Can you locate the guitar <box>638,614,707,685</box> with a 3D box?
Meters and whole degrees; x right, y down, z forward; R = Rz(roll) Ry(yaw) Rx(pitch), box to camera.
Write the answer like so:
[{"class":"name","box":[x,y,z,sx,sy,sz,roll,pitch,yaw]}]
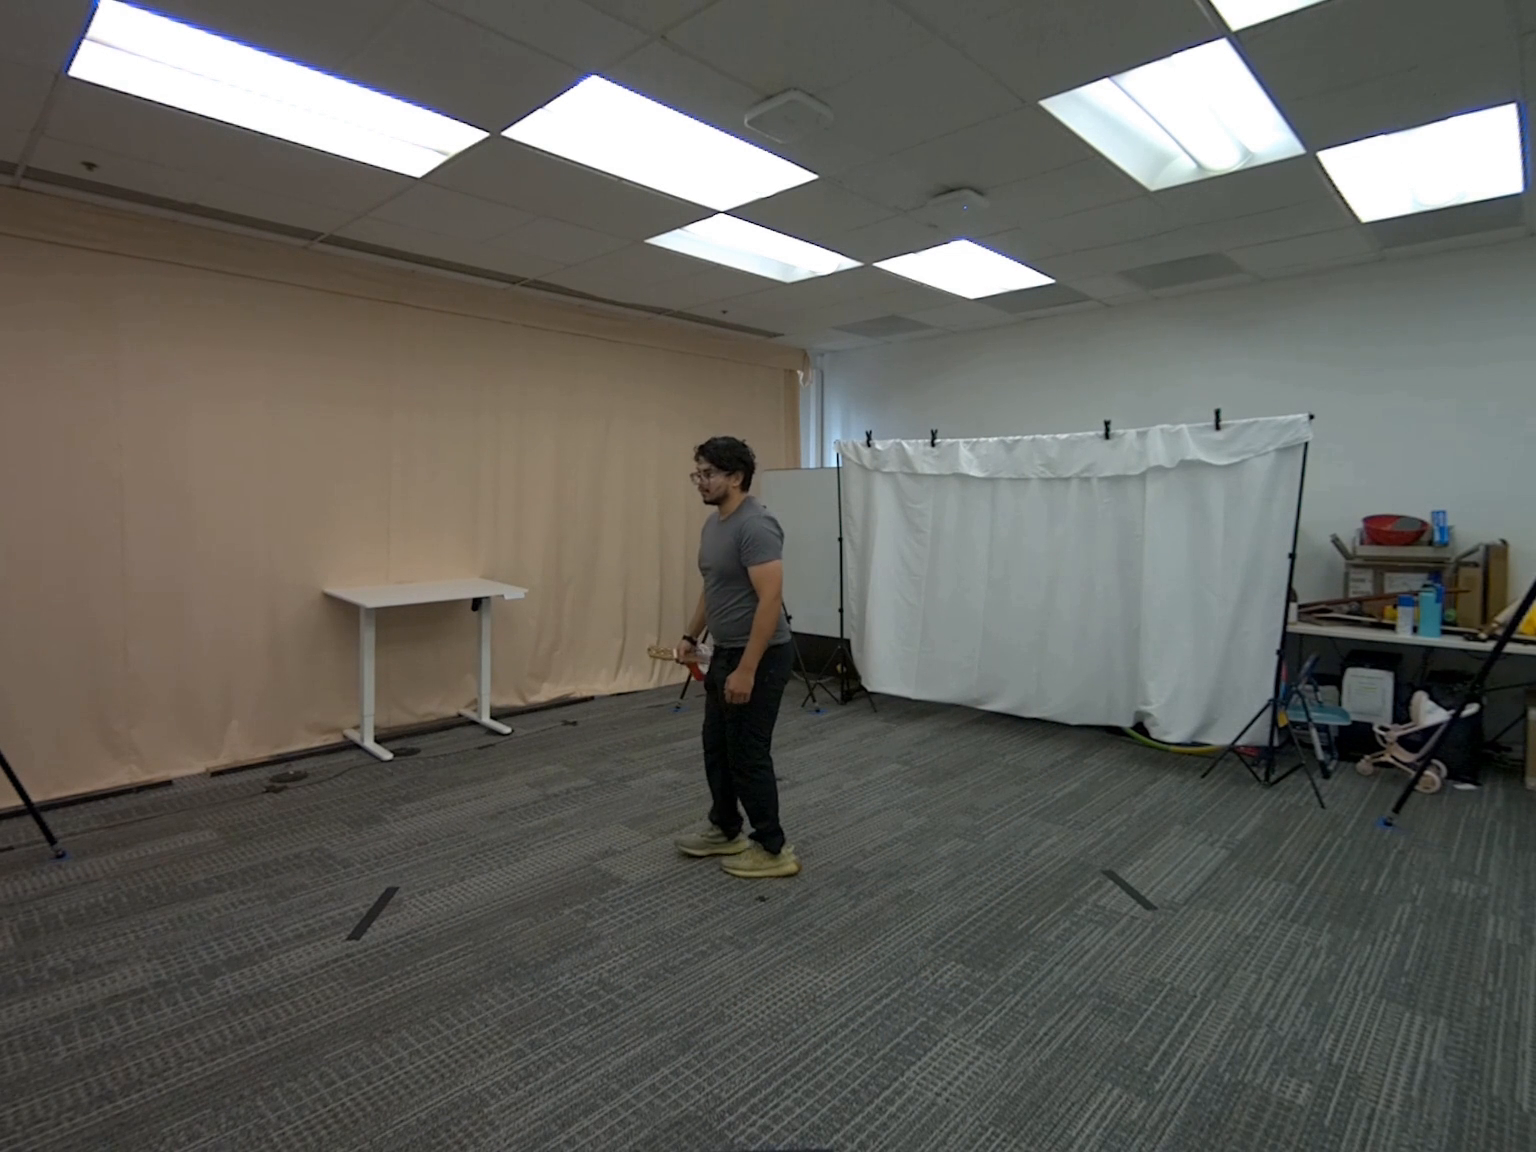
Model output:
[{"class":"guitar","box":[-0.299,0.327,3.482,0.482,0.196,0.071,22,-43,-29]}]
